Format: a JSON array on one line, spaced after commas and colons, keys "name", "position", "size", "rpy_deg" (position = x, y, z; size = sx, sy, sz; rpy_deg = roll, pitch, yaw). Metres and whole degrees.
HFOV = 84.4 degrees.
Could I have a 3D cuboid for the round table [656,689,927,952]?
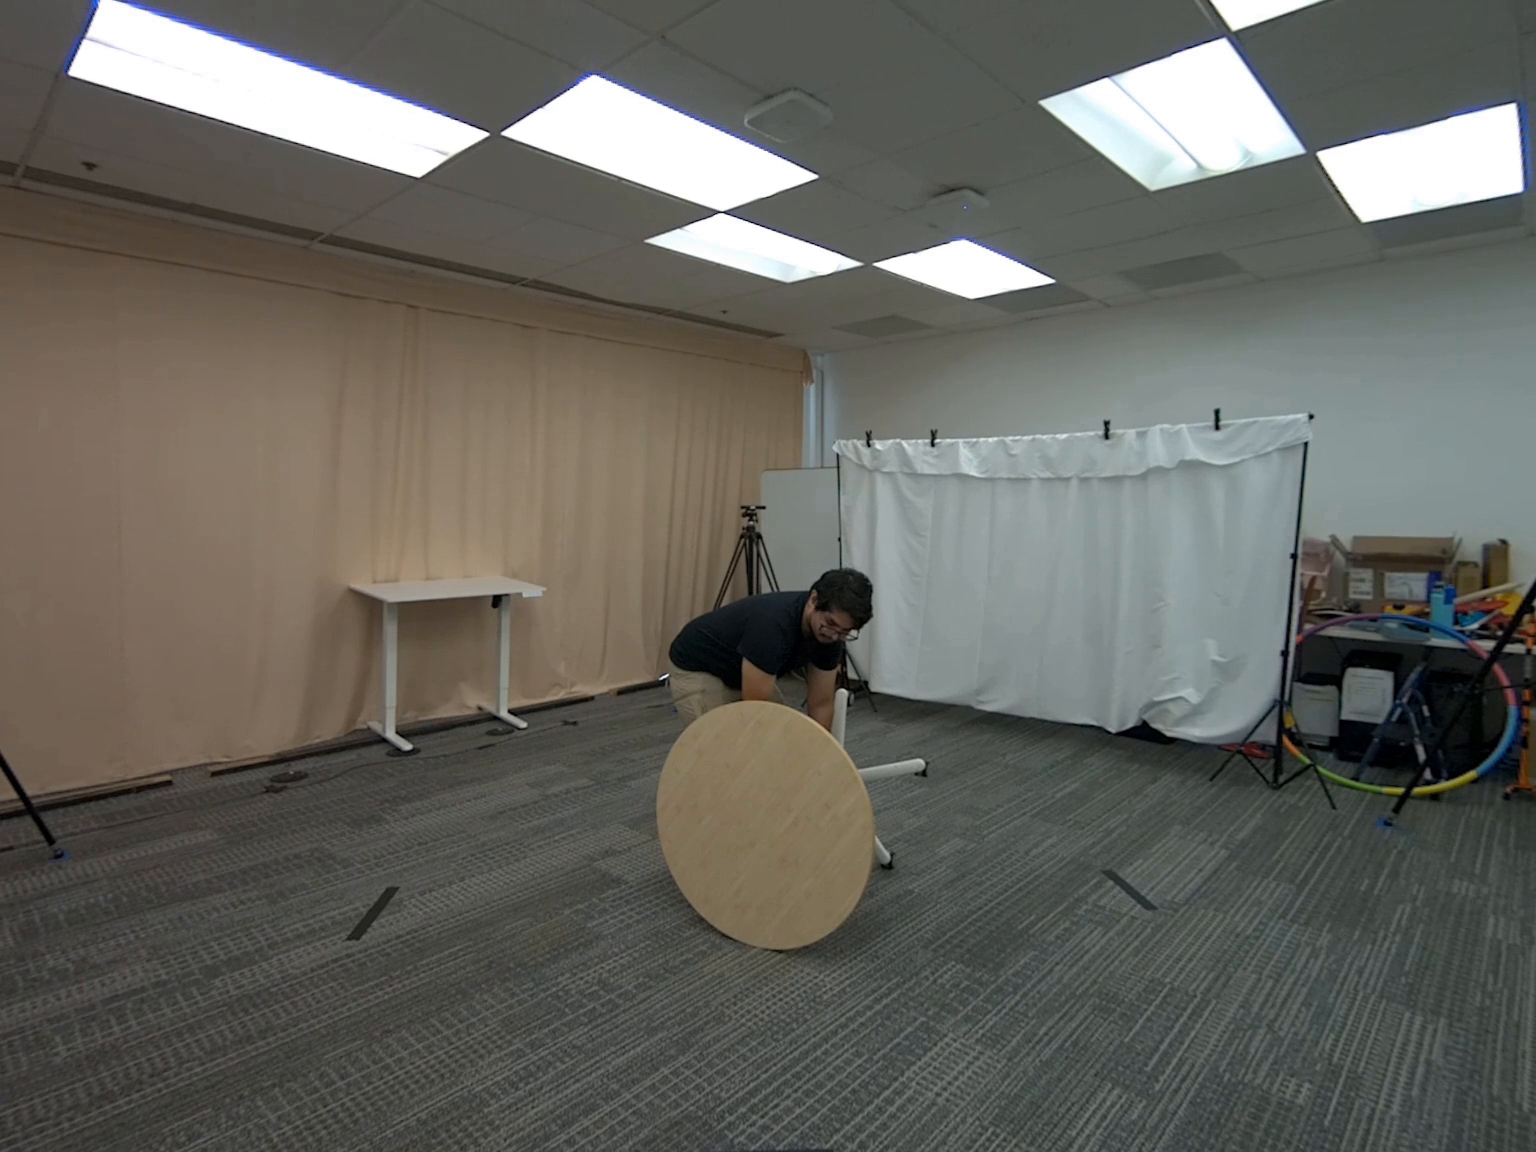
[{"name": "round table", "position": [0.145, 0.781, 3.018], "size": [0.807, 0.785, 0.765], "rpy_deg": [2, 0, 28]}]
